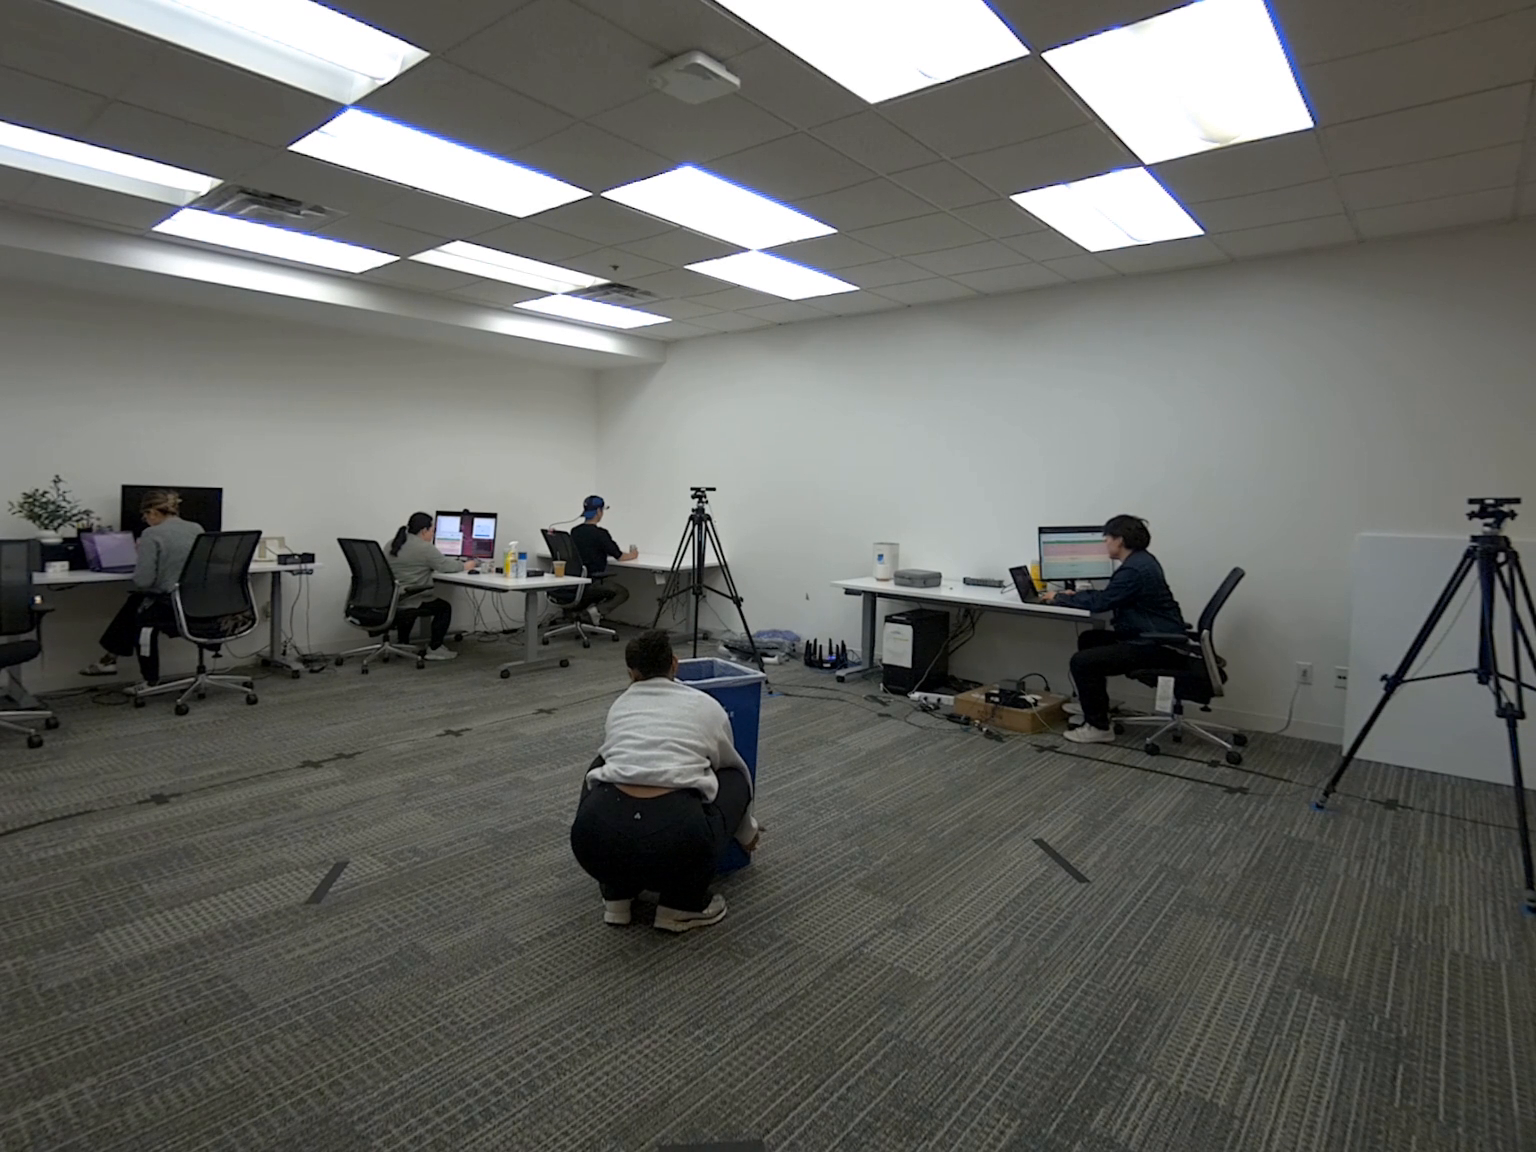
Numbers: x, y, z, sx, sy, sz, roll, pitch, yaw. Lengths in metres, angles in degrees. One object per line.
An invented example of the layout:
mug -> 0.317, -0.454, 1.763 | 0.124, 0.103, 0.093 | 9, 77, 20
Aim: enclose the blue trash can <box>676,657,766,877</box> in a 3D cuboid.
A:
blue trash can -> -0.260, 0.696, 3.178 | 0.367, 0.712, 0.386 | -1, 3, -34
